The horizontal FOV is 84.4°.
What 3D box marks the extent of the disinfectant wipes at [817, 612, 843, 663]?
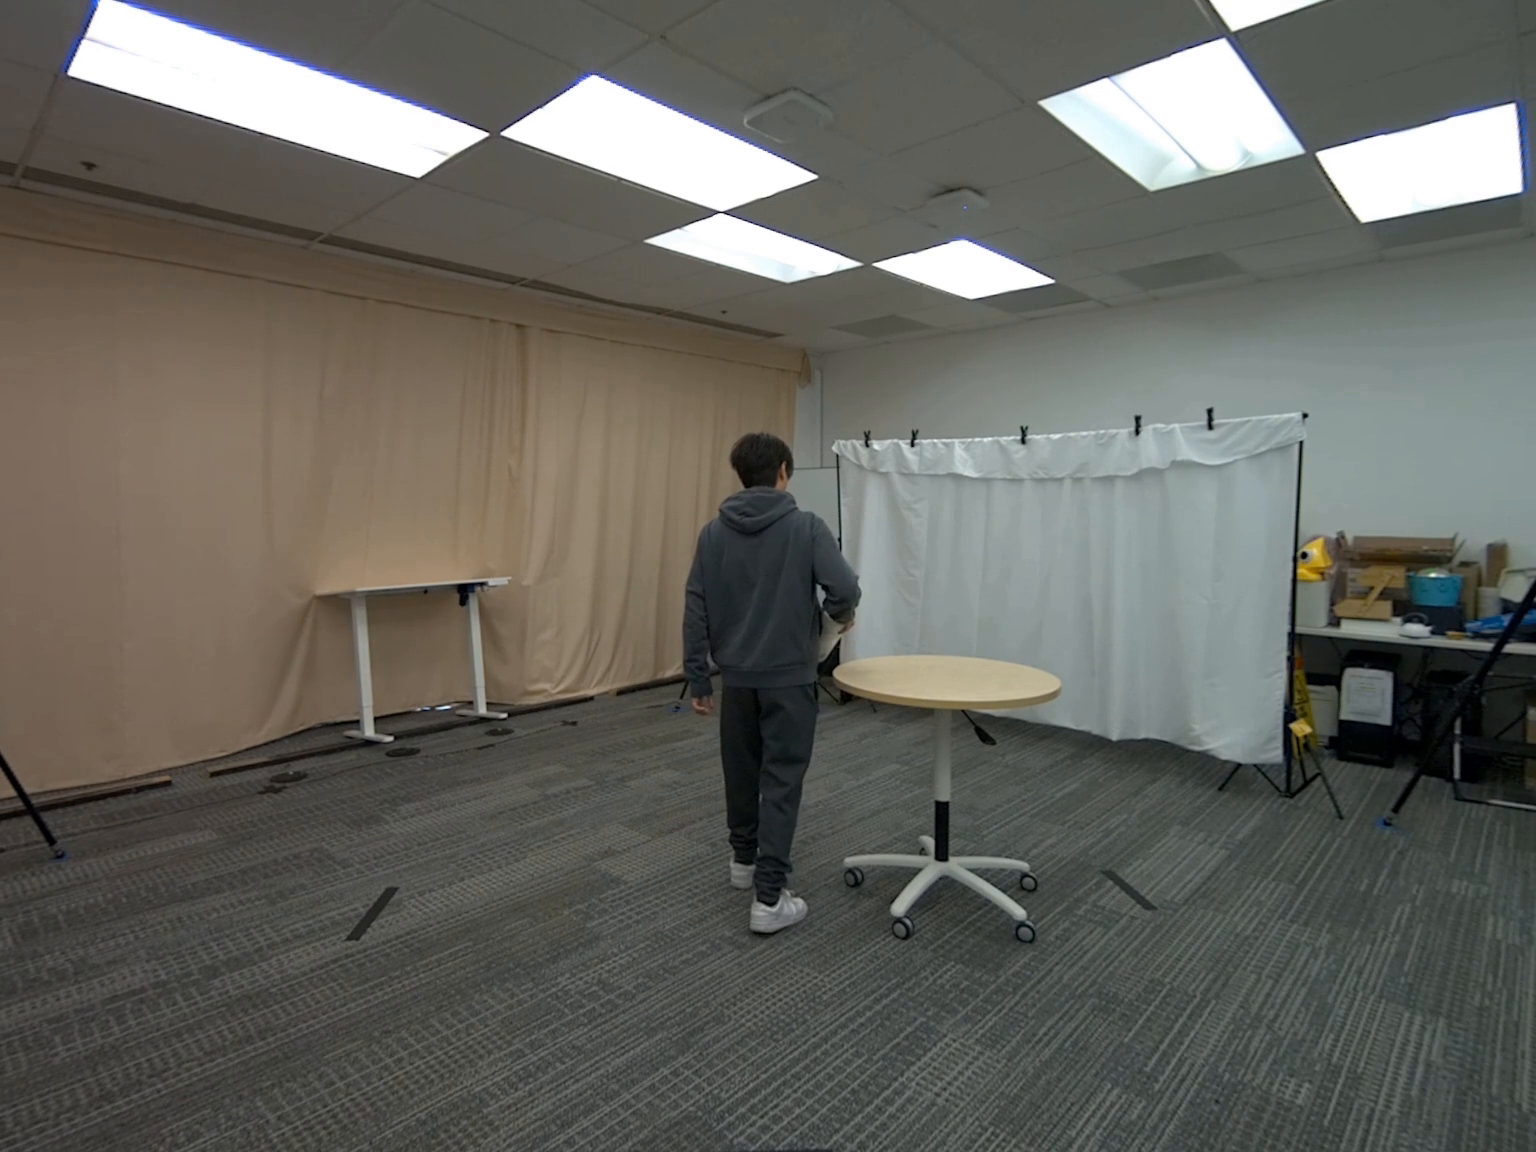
[{"bbox_3d":[0.217,0.214,3.110,0.116,0.216,0.120,14,39,-14],"label":"disinfectant wipes"}]
